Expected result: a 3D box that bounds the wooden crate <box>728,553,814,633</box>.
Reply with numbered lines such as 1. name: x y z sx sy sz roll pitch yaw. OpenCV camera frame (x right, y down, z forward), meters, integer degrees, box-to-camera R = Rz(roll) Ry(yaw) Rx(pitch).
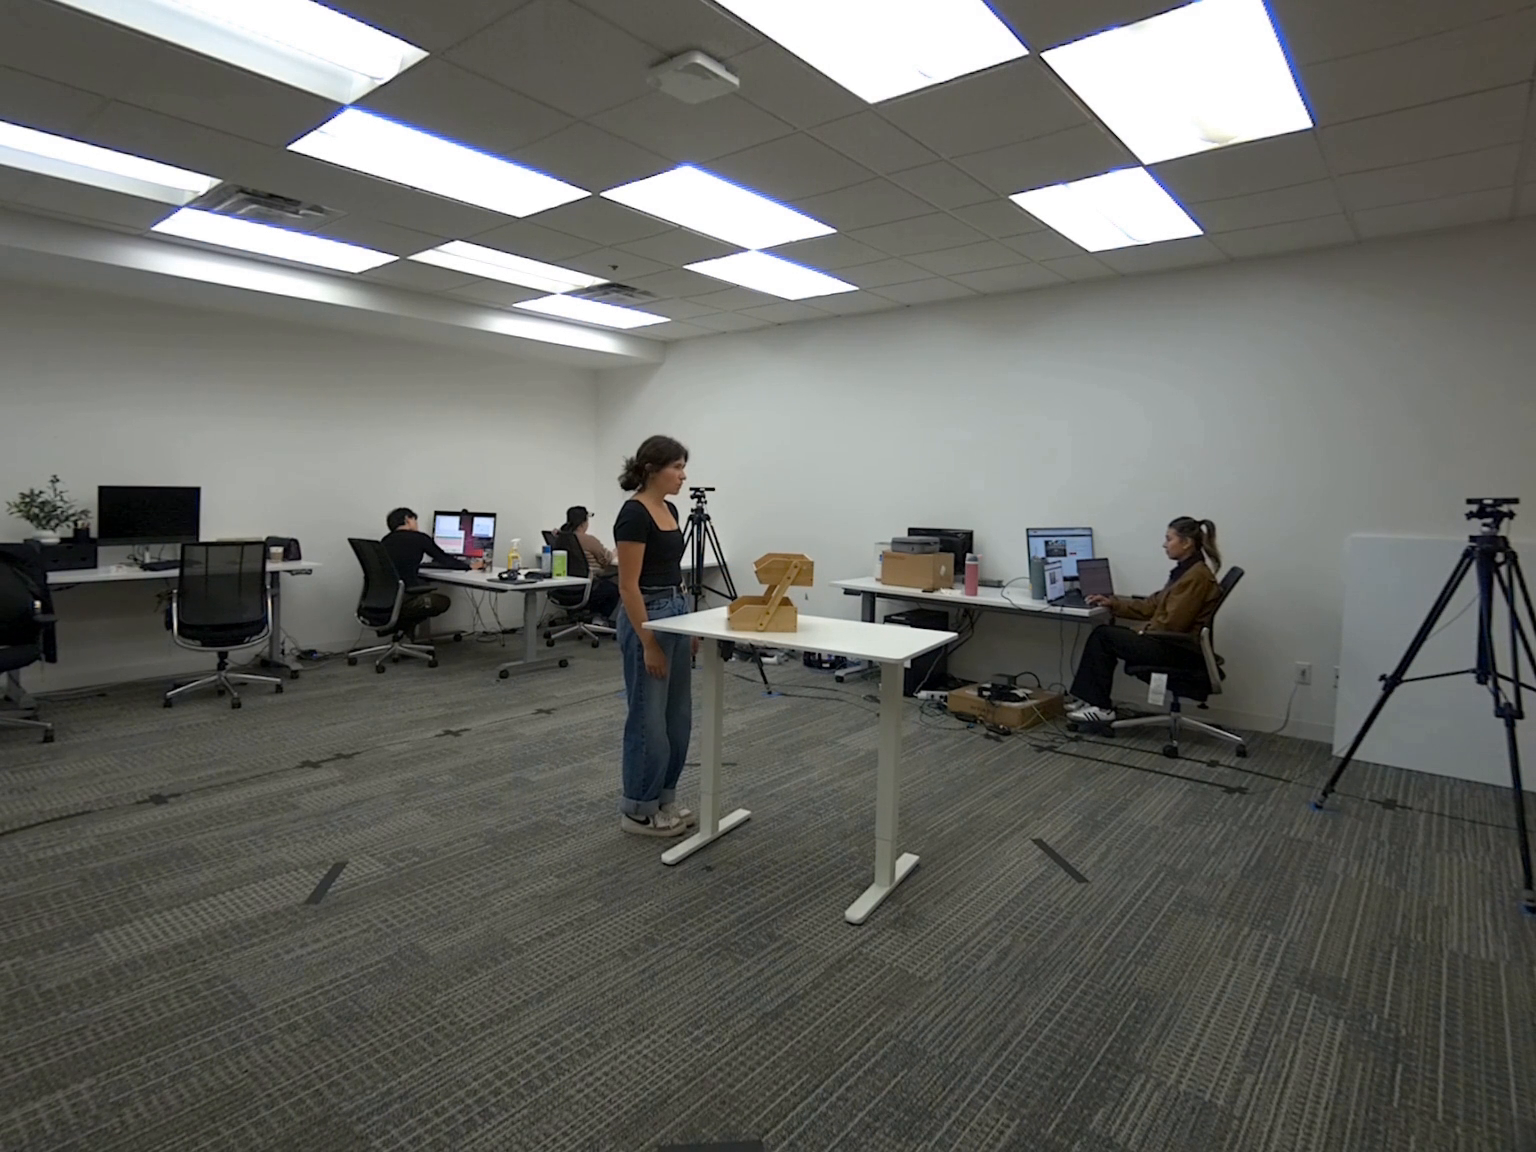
1. wooden crate: -0.010 0.054 3.176 0.301 0.272 0.326 1 5 -3
